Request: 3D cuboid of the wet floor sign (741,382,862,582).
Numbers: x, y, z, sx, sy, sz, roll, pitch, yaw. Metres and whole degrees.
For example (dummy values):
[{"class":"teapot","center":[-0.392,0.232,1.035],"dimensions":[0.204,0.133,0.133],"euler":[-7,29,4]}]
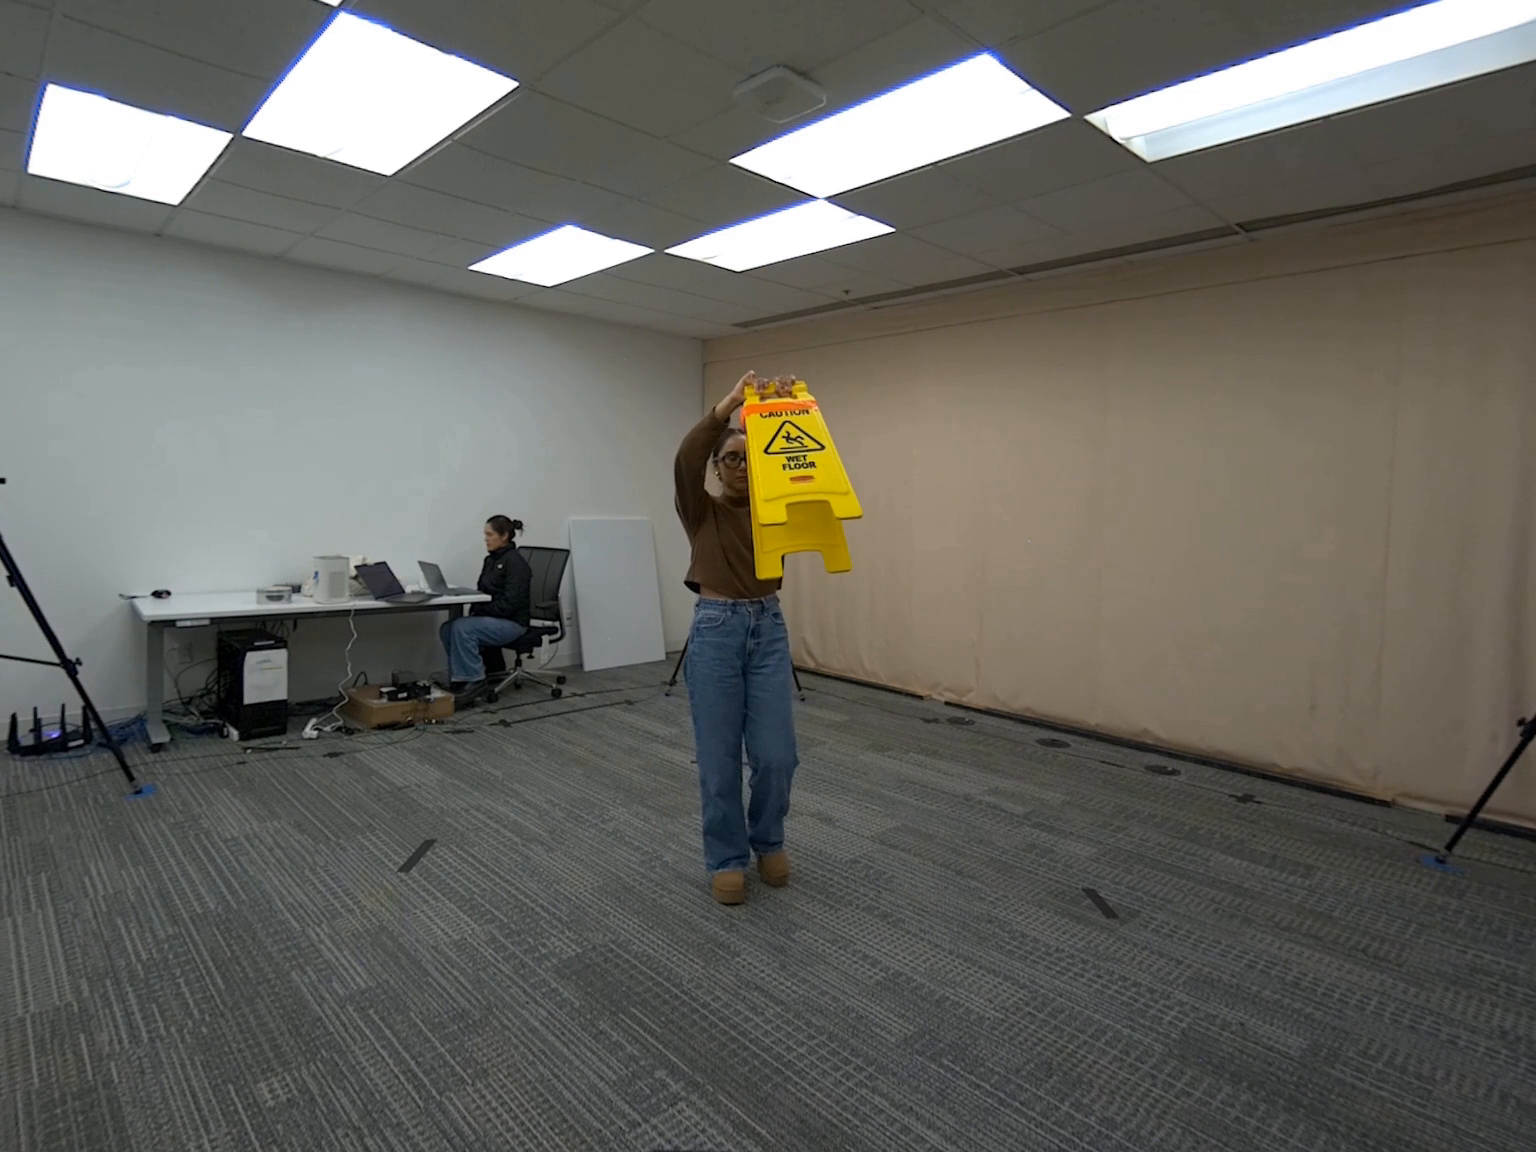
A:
[{"class":"wet floor sign","center":[0.055,-0.345,2.499],"dimensions":[0.281,0.661,0.284],"euler":[-6,-33,-5]}]
